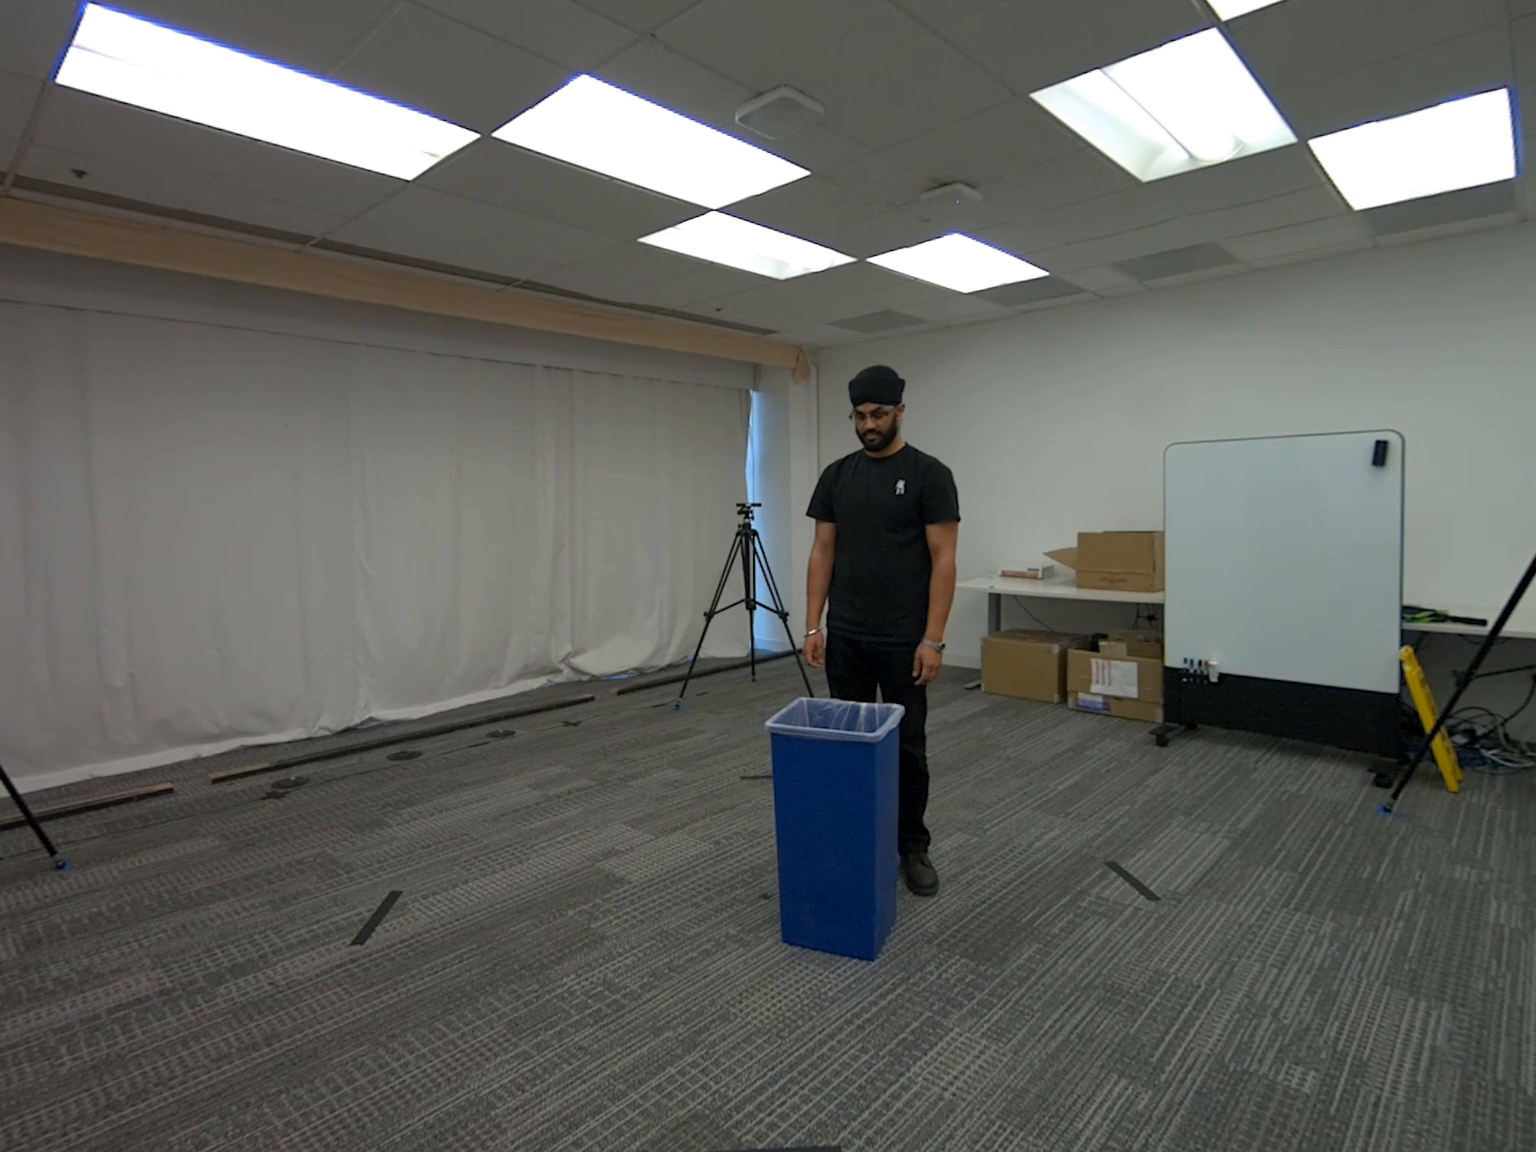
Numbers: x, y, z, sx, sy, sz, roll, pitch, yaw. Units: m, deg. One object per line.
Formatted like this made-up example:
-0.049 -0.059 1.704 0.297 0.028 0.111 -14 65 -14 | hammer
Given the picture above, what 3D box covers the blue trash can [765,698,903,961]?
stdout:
0.224 0.797 2.723 0.387 0.711 0.366 0 5 23 | blue trash can
